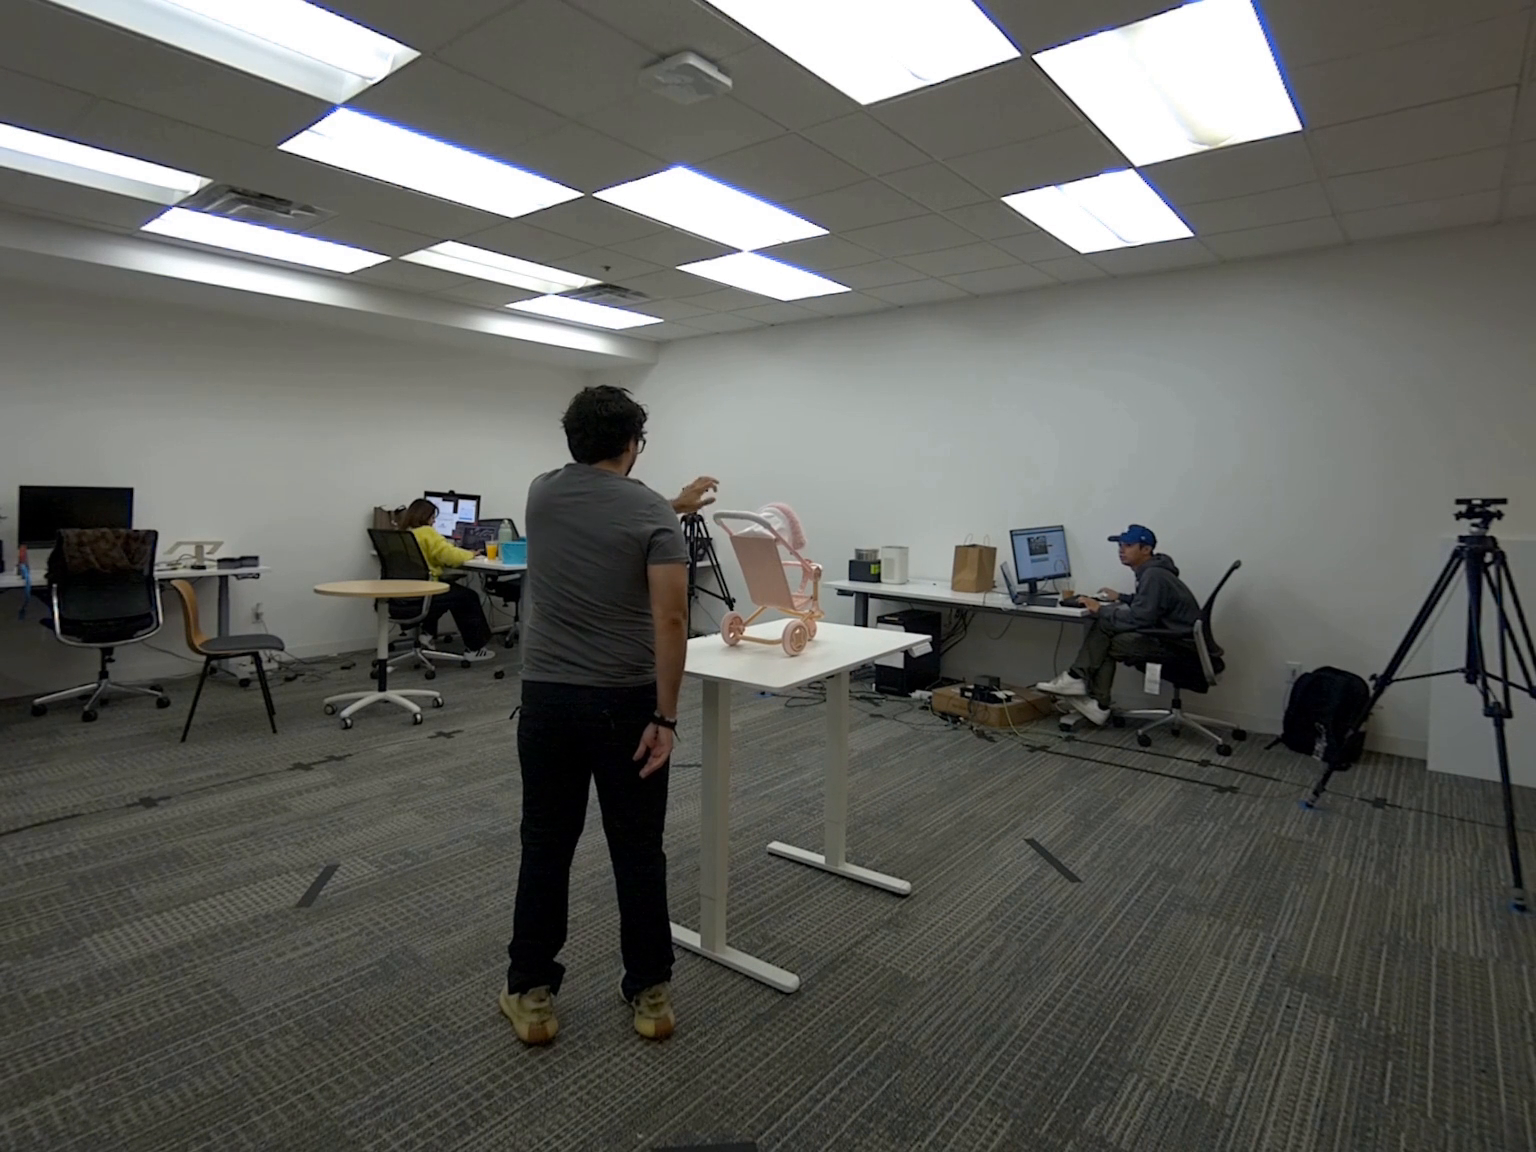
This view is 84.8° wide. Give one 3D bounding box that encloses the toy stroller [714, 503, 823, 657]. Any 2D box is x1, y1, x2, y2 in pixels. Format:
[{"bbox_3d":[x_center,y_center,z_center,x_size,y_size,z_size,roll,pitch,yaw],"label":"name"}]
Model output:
[{"bbox_3d":[0.020,0.004,2.723,0.291,0.527,0.335,5,20,43],"label":"toy stroller"}]
